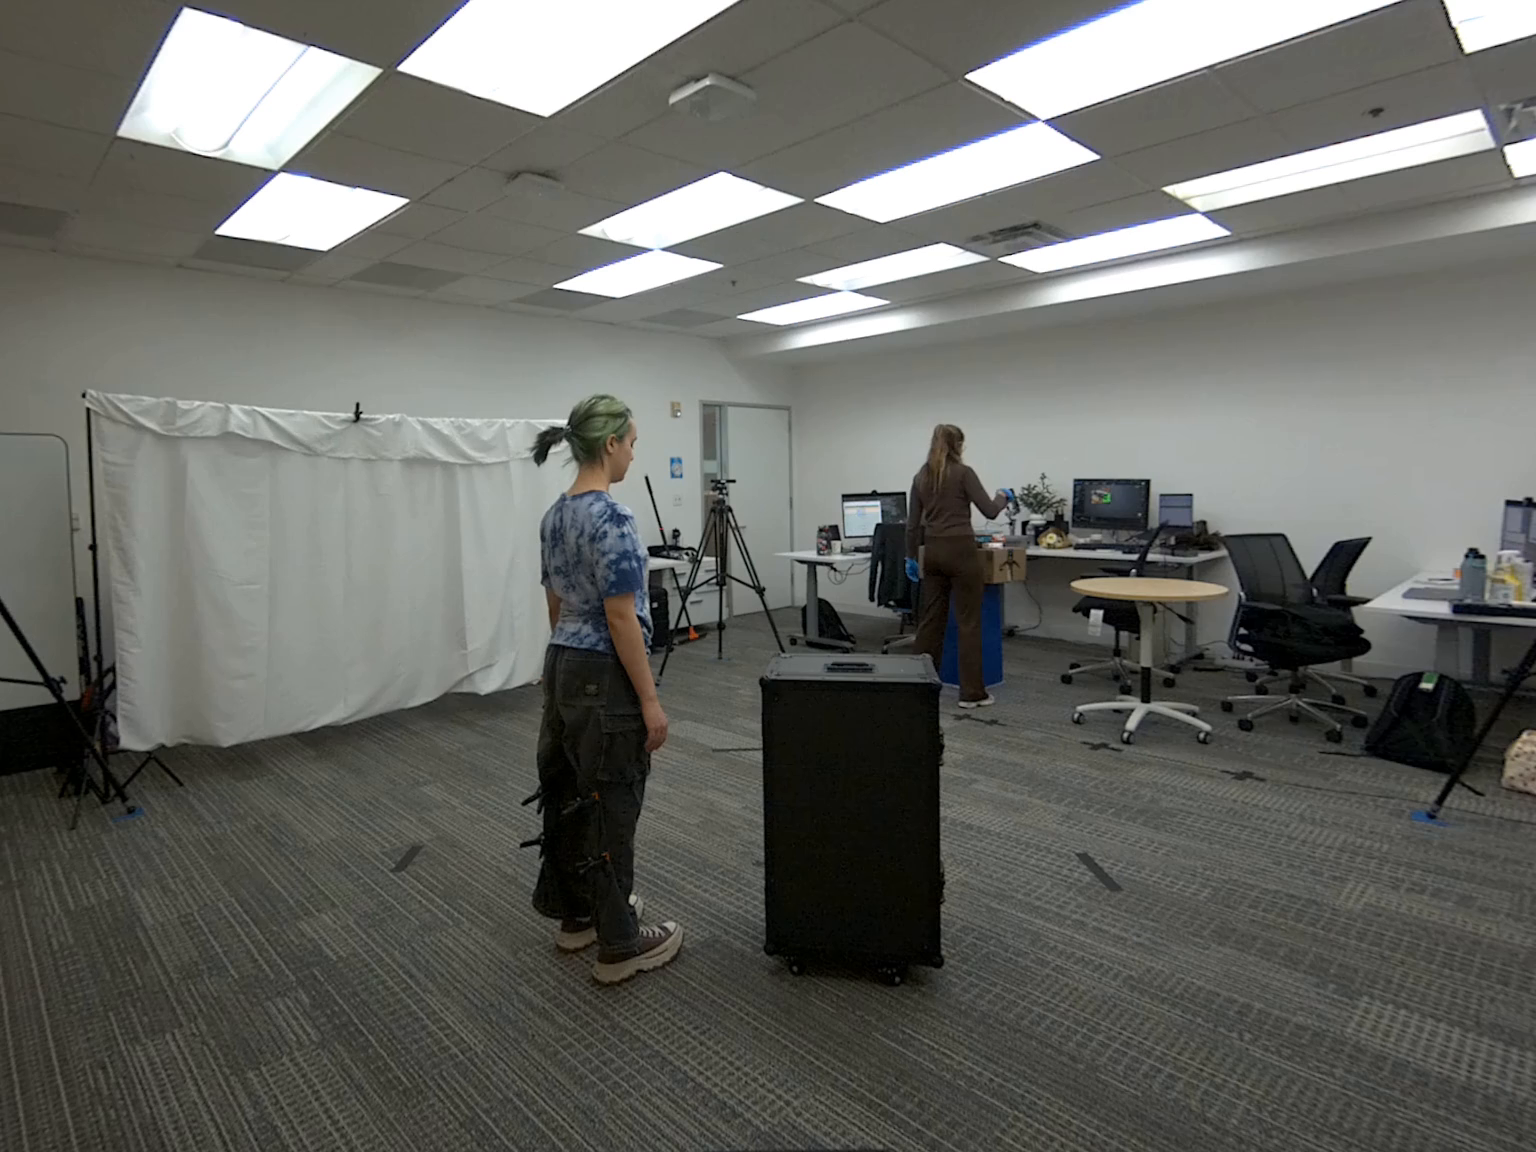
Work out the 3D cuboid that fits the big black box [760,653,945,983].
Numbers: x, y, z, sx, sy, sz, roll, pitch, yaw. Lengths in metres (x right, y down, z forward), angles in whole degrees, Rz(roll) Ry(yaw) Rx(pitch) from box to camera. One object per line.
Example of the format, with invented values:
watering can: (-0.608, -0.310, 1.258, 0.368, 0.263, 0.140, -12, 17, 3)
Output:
big black box: (0.241, 0.682, 2.504, 0.527, 0.860, 0.393, -1, 2, 10)
